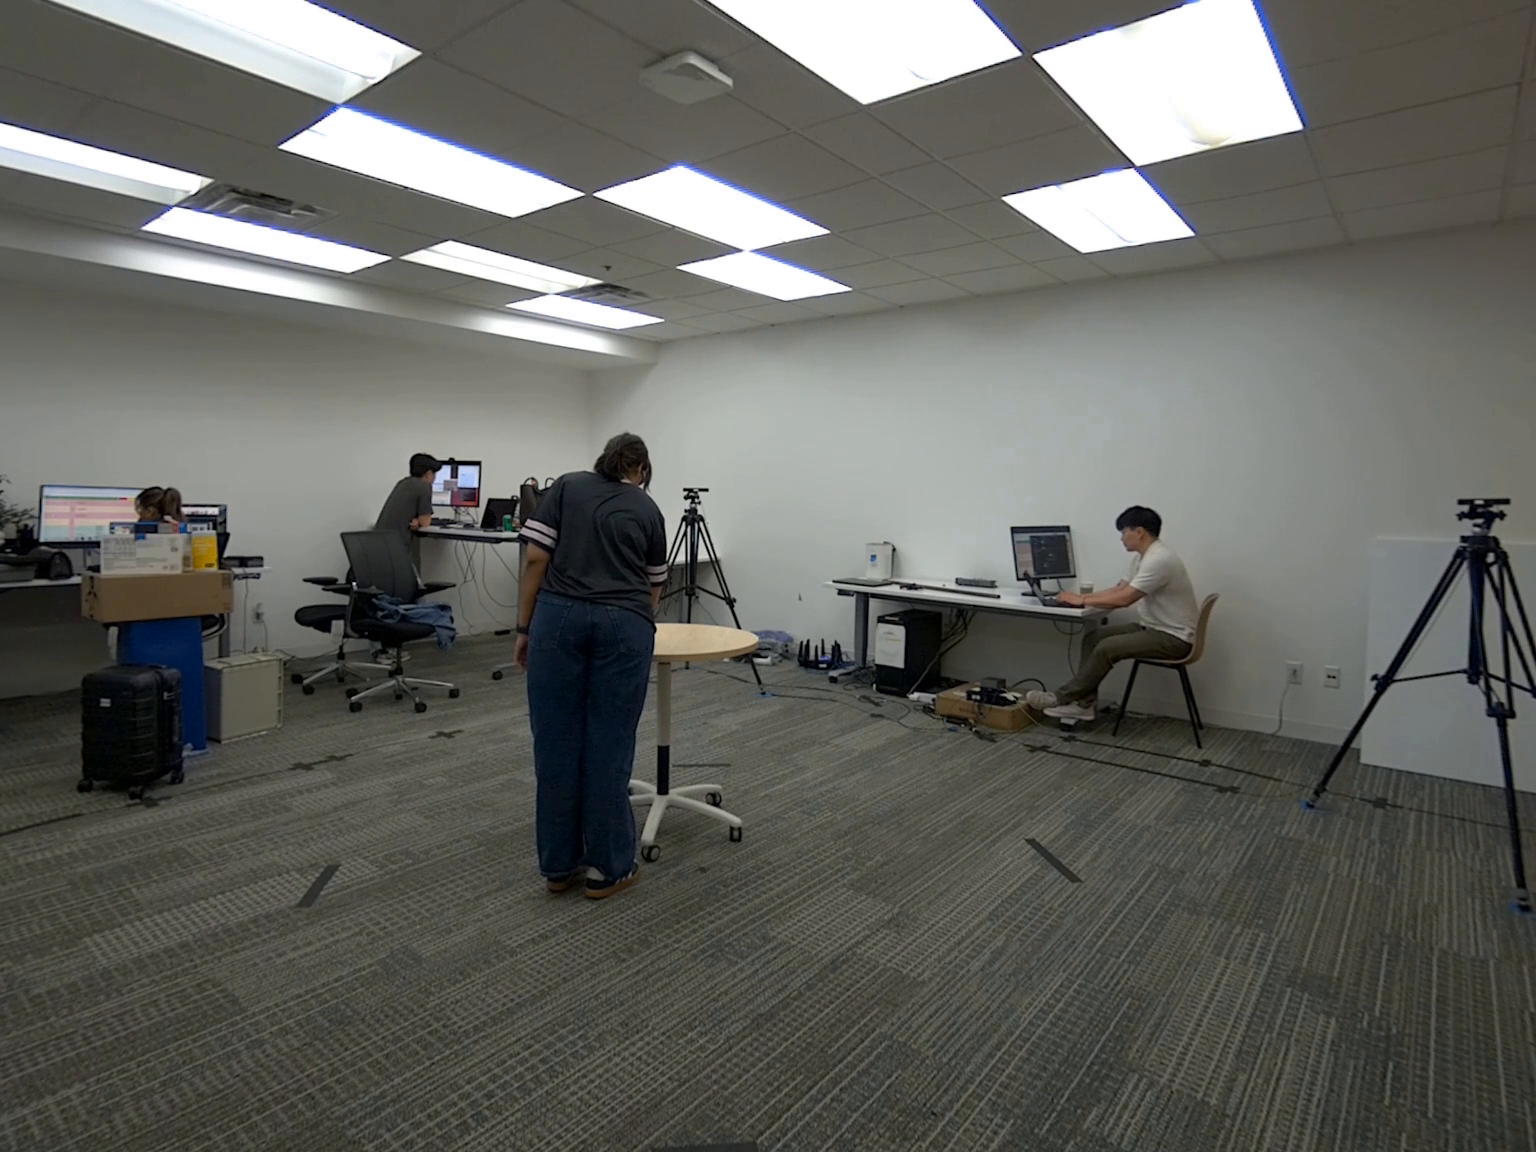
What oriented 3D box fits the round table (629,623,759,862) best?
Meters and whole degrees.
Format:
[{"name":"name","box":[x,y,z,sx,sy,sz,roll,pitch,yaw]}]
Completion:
[{"name":"round table","box":[-0.450,0.636,3.482,0.784,0.784,0.789,1,4,-2]}]
